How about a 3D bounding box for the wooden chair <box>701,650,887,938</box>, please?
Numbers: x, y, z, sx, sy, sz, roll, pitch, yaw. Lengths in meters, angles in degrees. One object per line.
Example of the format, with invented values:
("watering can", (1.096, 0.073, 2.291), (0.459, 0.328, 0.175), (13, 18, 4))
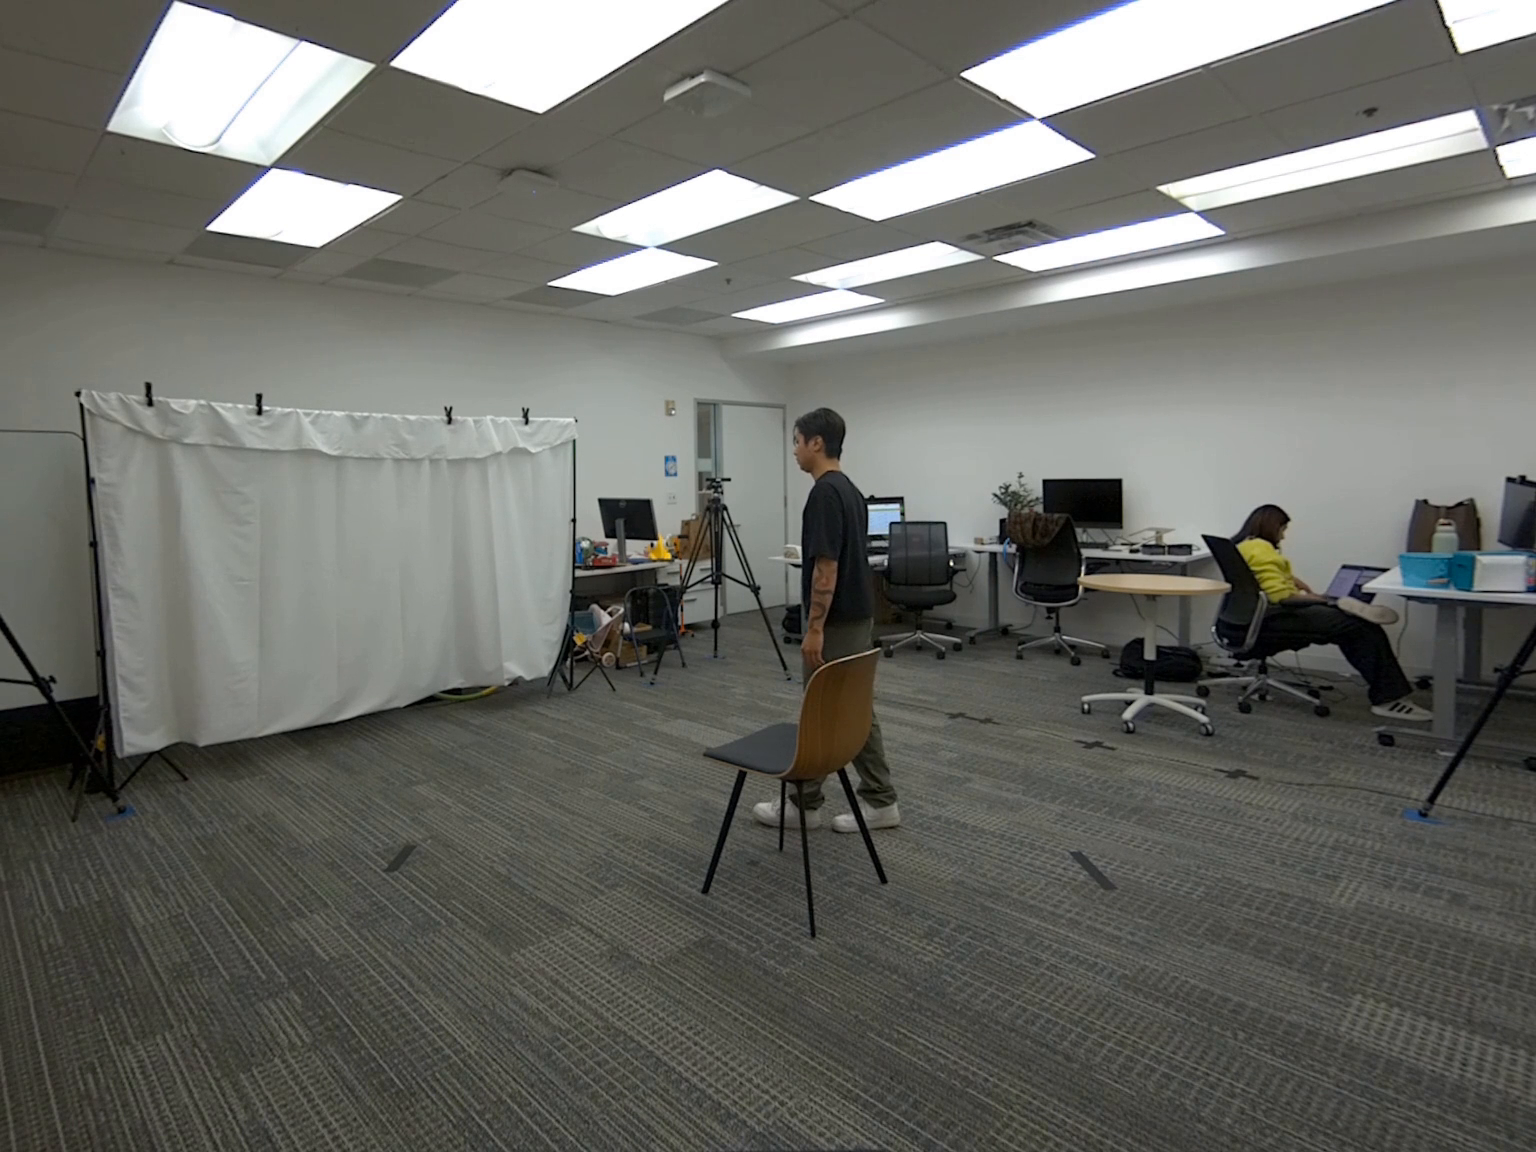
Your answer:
("wooden chair", (0.078, 0.638, 2.874), (0.540, 0.872, 0.466), (8, 9, 38))
